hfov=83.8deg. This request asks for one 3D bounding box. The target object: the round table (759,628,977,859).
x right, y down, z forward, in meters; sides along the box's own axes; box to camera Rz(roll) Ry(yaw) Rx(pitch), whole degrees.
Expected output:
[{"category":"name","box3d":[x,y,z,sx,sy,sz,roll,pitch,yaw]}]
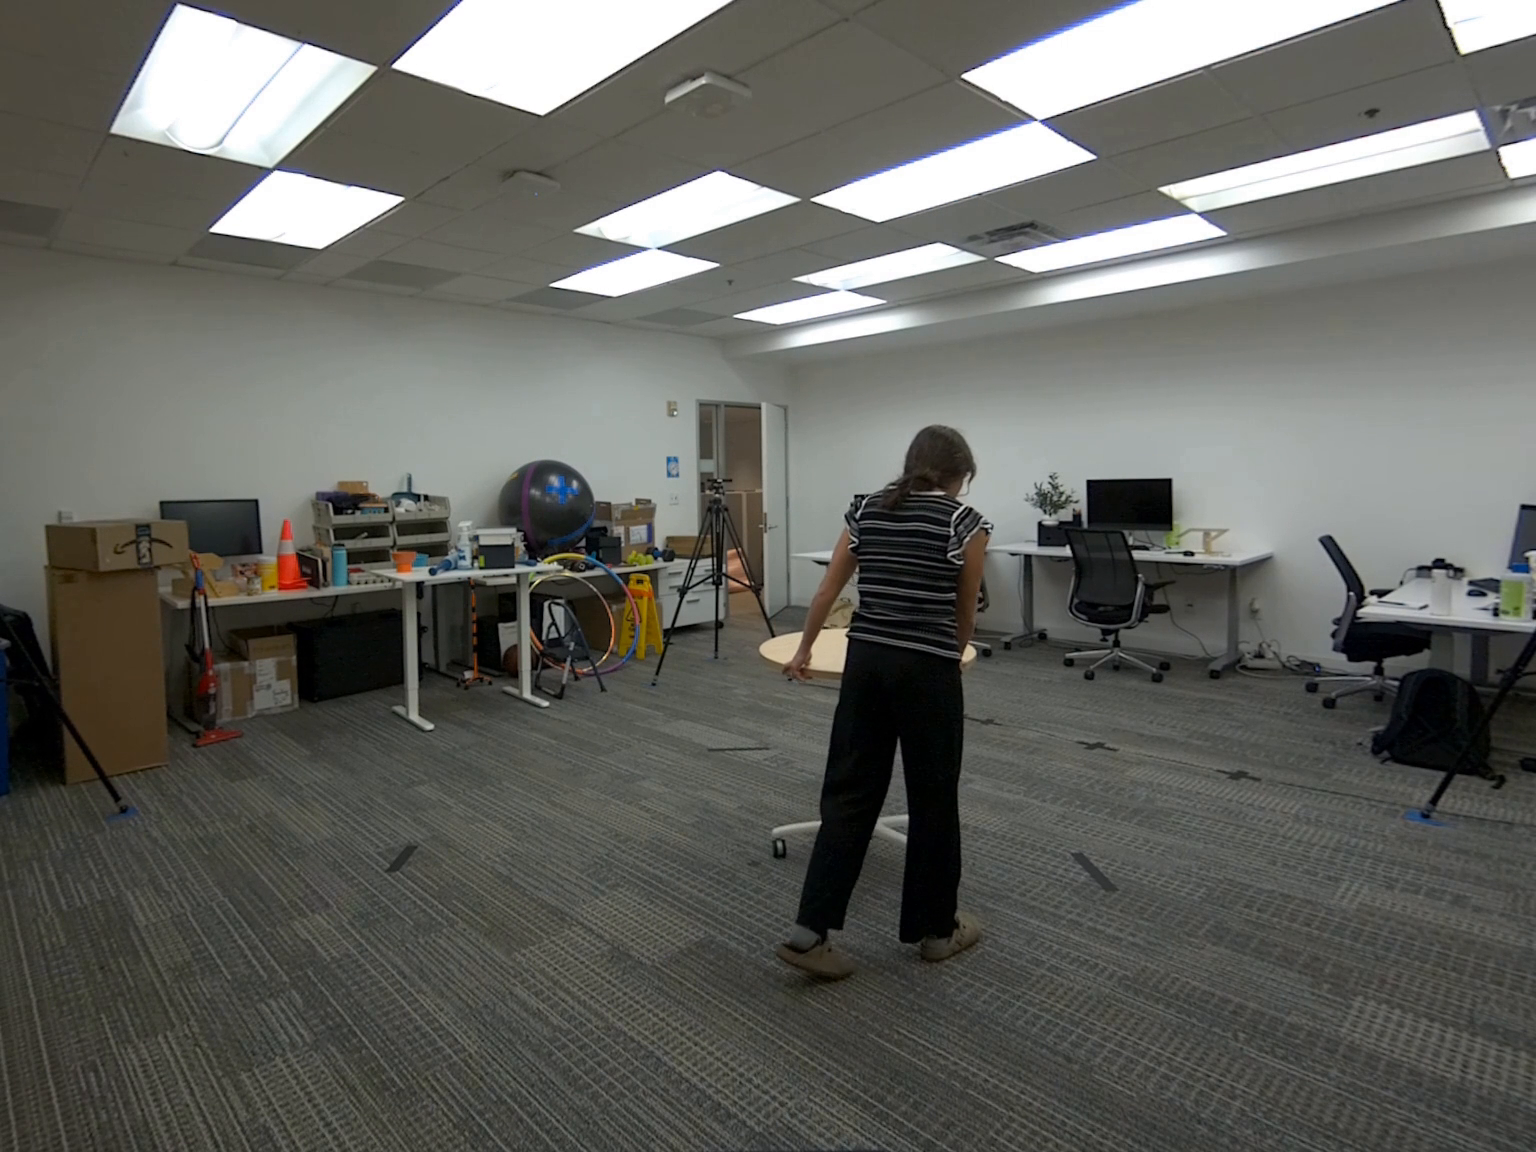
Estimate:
[{"category":"round table","box3d":[0.358,0.652,3.106,0.763,0.791,0.768,-1,5,-2]}]
